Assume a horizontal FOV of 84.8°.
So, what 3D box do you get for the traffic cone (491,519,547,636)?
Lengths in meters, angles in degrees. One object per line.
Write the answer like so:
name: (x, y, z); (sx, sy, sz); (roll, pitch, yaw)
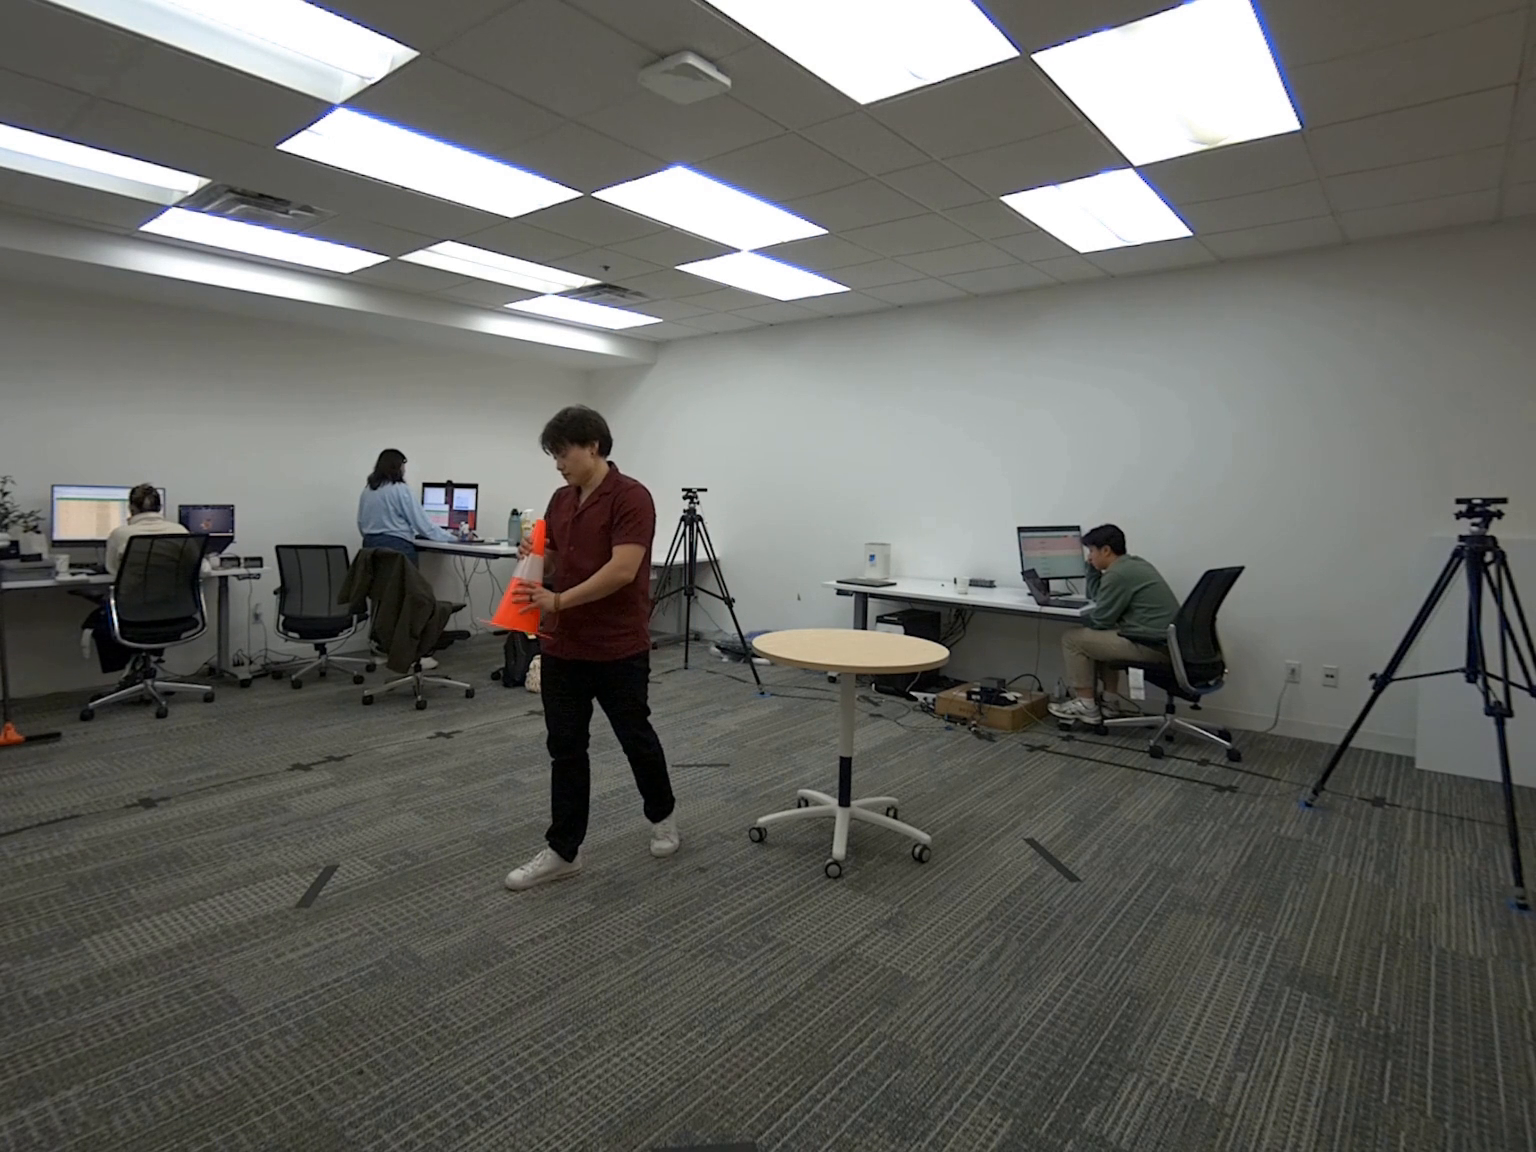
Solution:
traffic cone: (-0.829, -0.006, 2.910); (0.200, 0.385, 0.208); (16, -5, -22)
